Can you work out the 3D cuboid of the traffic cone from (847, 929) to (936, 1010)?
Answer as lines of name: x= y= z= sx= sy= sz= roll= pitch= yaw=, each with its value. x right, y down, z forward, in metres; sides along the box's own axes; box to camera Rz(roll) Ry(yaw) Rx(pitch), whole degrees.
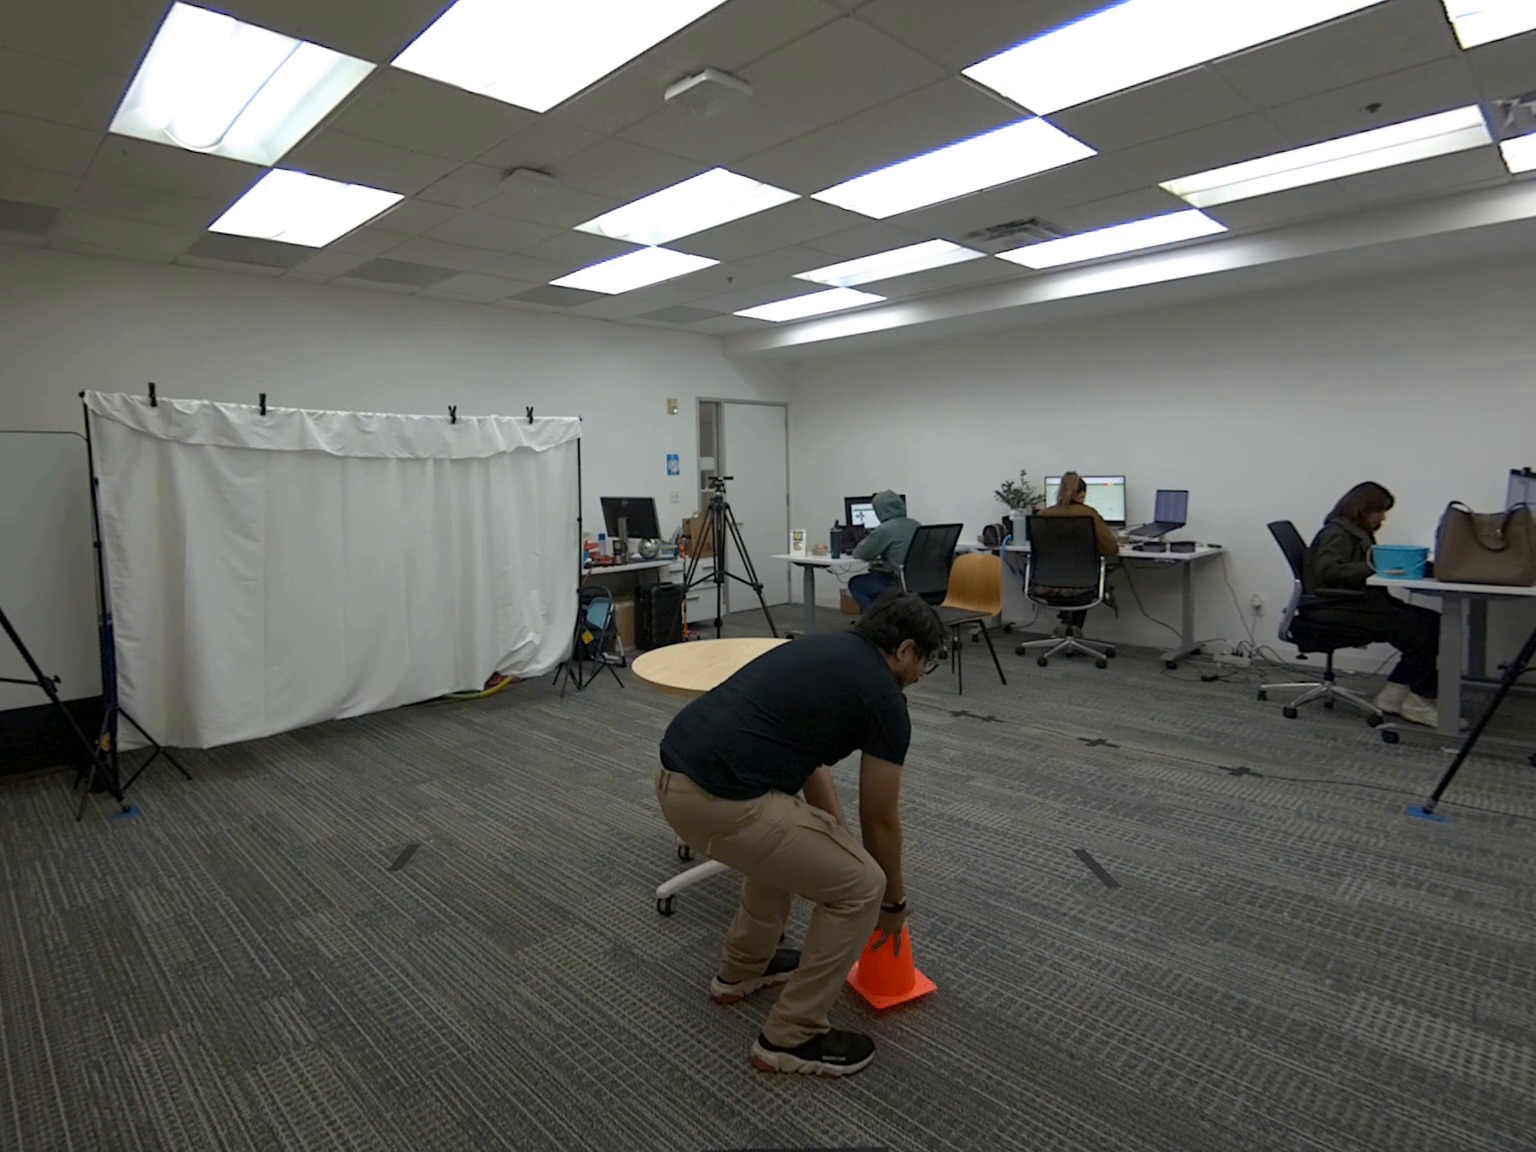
traffic cone: x=0.328 y=0.902 z=2.291 sx=0.200 sy=0.381 sz=0.209 roll=-4 pitch=8 yaw=-27
